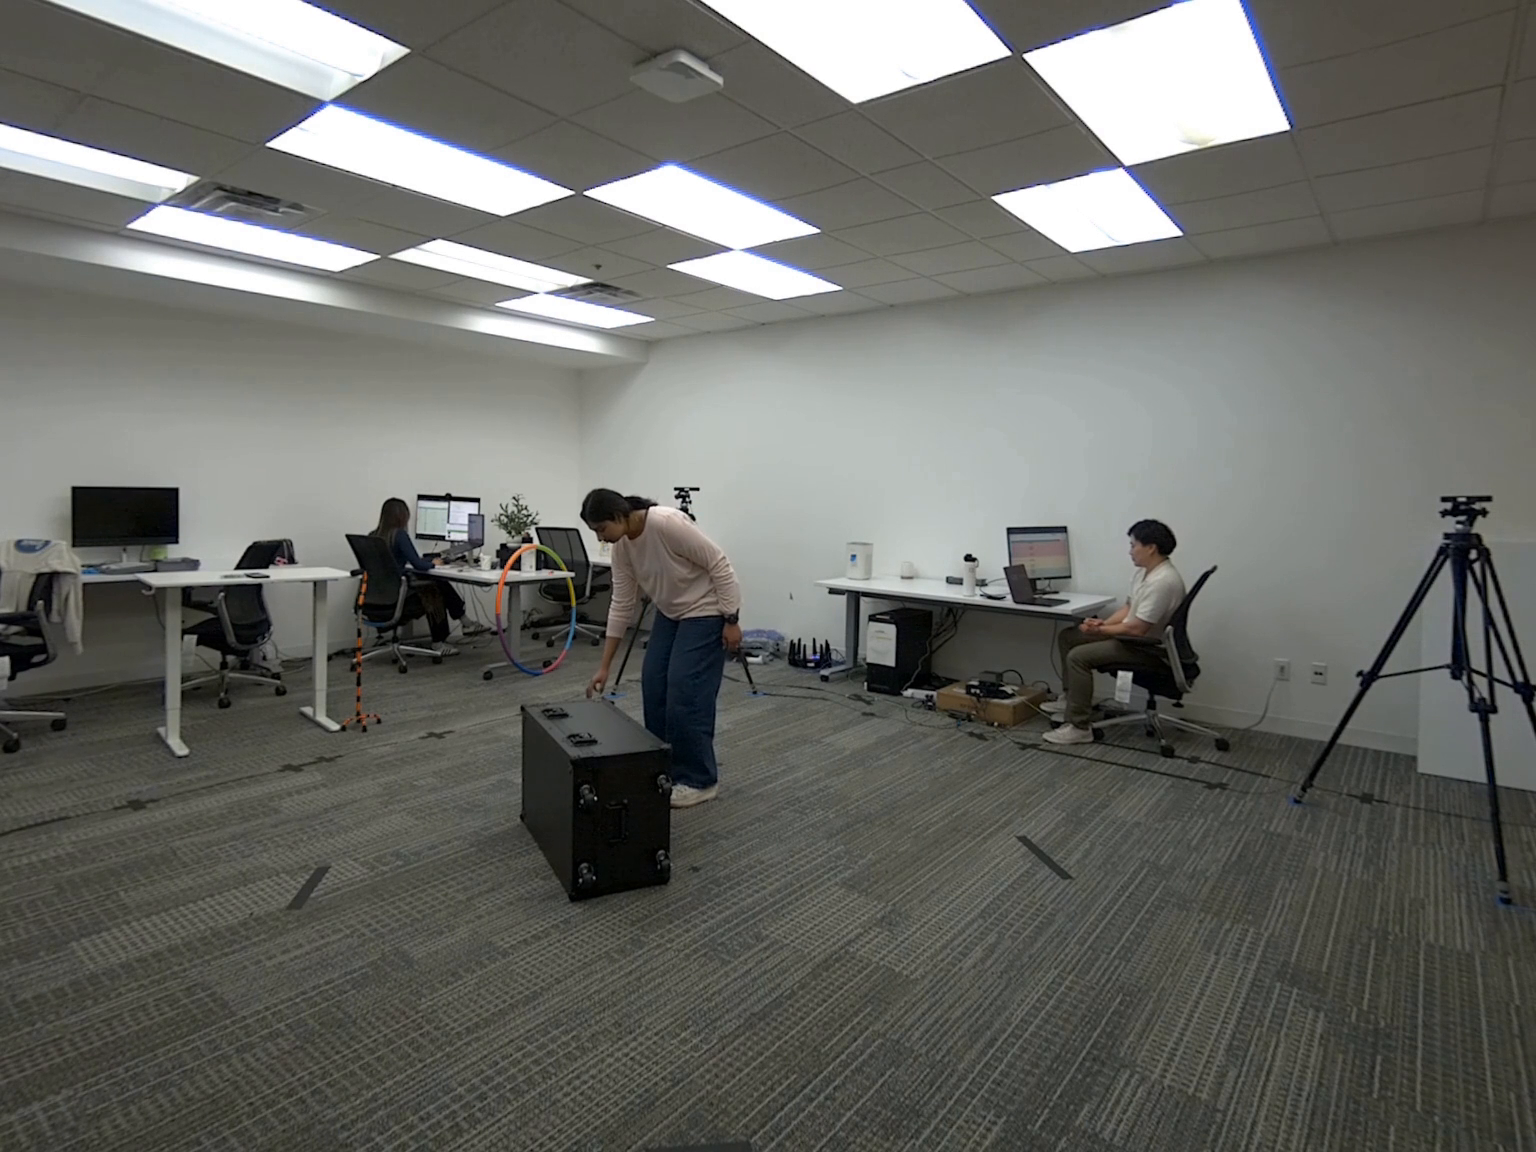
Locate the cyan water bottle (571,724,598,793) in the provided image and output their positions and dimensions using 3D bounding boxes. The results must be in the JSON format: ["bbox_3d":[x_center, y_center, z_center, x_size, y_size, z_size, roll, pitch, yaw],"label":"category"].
[{"bbox_3d":[-0.845,0.837,3.867,0.092,0.282,0.093,-2,5,-2],"label":"cyan water bottle"}]
